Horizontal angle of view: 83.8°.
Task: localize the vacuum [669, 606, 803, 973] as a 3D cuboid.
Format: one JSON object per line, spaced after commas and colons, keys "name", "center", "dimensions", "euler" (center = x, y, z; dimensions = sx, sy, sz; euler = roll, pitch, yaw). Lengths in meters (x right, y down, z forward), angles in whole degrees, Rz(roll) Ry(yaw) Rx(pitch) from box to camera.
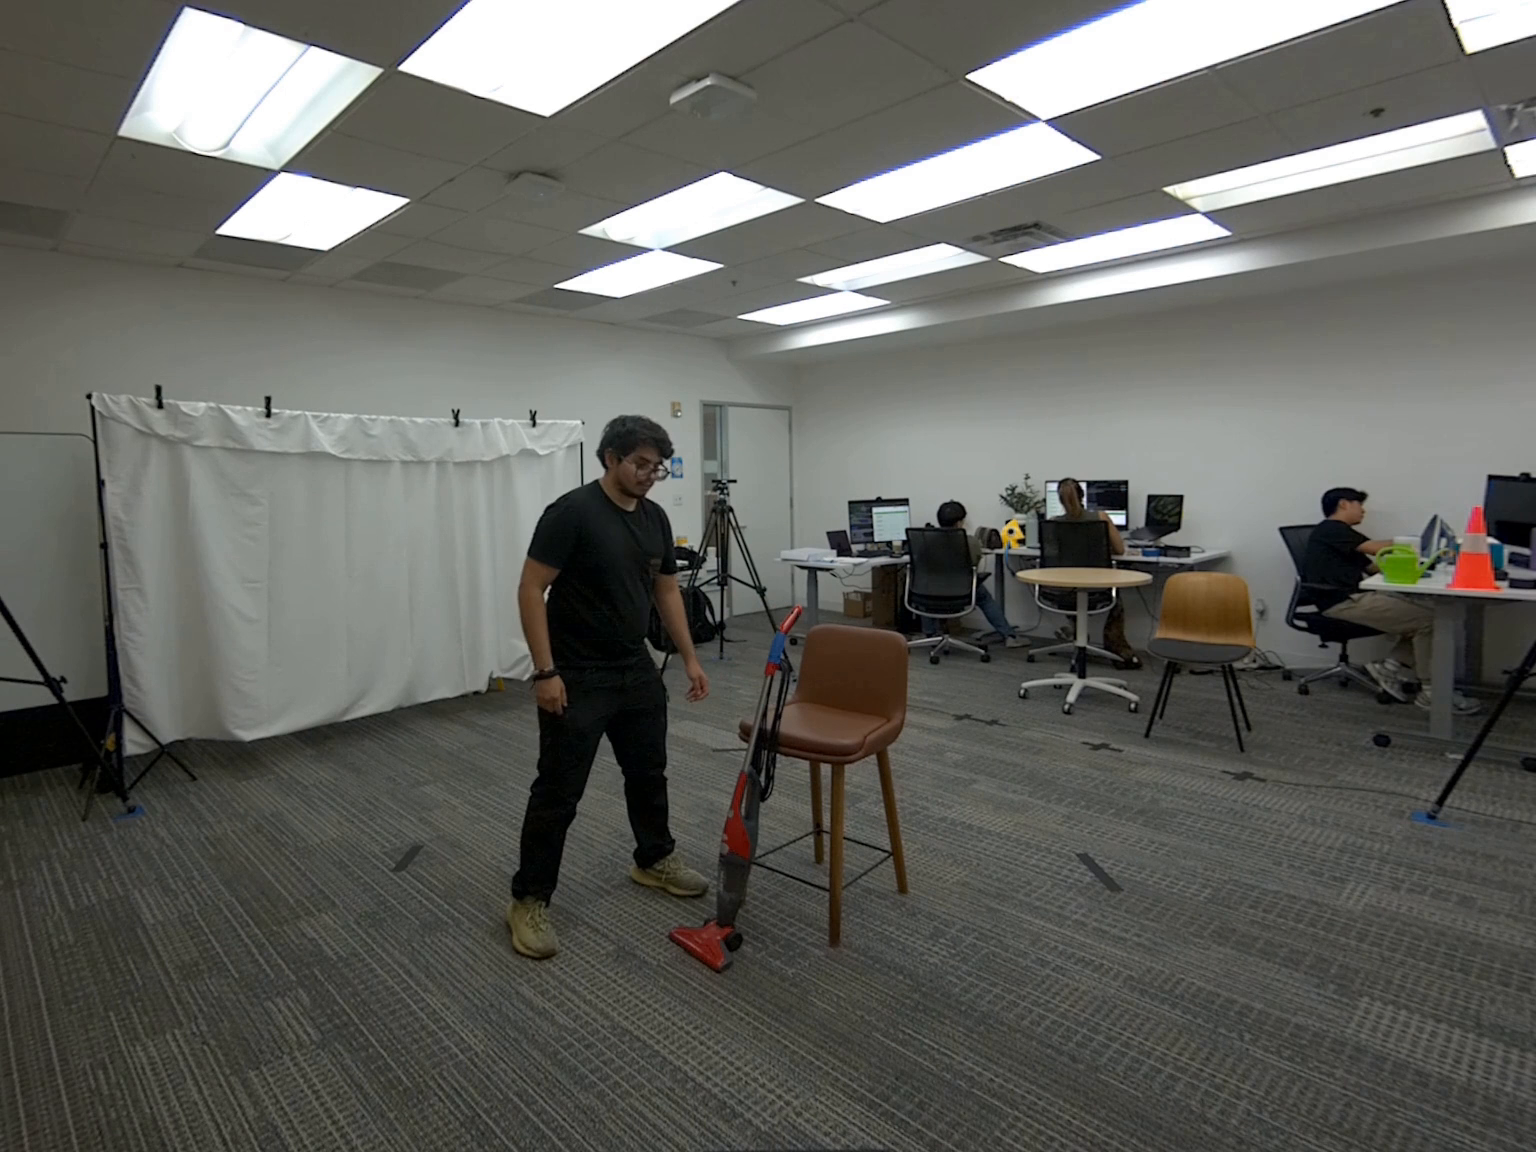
{"name": "vacuum", "center": [-0.043, 0.611, 2.643], "dimensions": [0.260, 1.057, 0.138], "euler": [3, -16, 43]}
